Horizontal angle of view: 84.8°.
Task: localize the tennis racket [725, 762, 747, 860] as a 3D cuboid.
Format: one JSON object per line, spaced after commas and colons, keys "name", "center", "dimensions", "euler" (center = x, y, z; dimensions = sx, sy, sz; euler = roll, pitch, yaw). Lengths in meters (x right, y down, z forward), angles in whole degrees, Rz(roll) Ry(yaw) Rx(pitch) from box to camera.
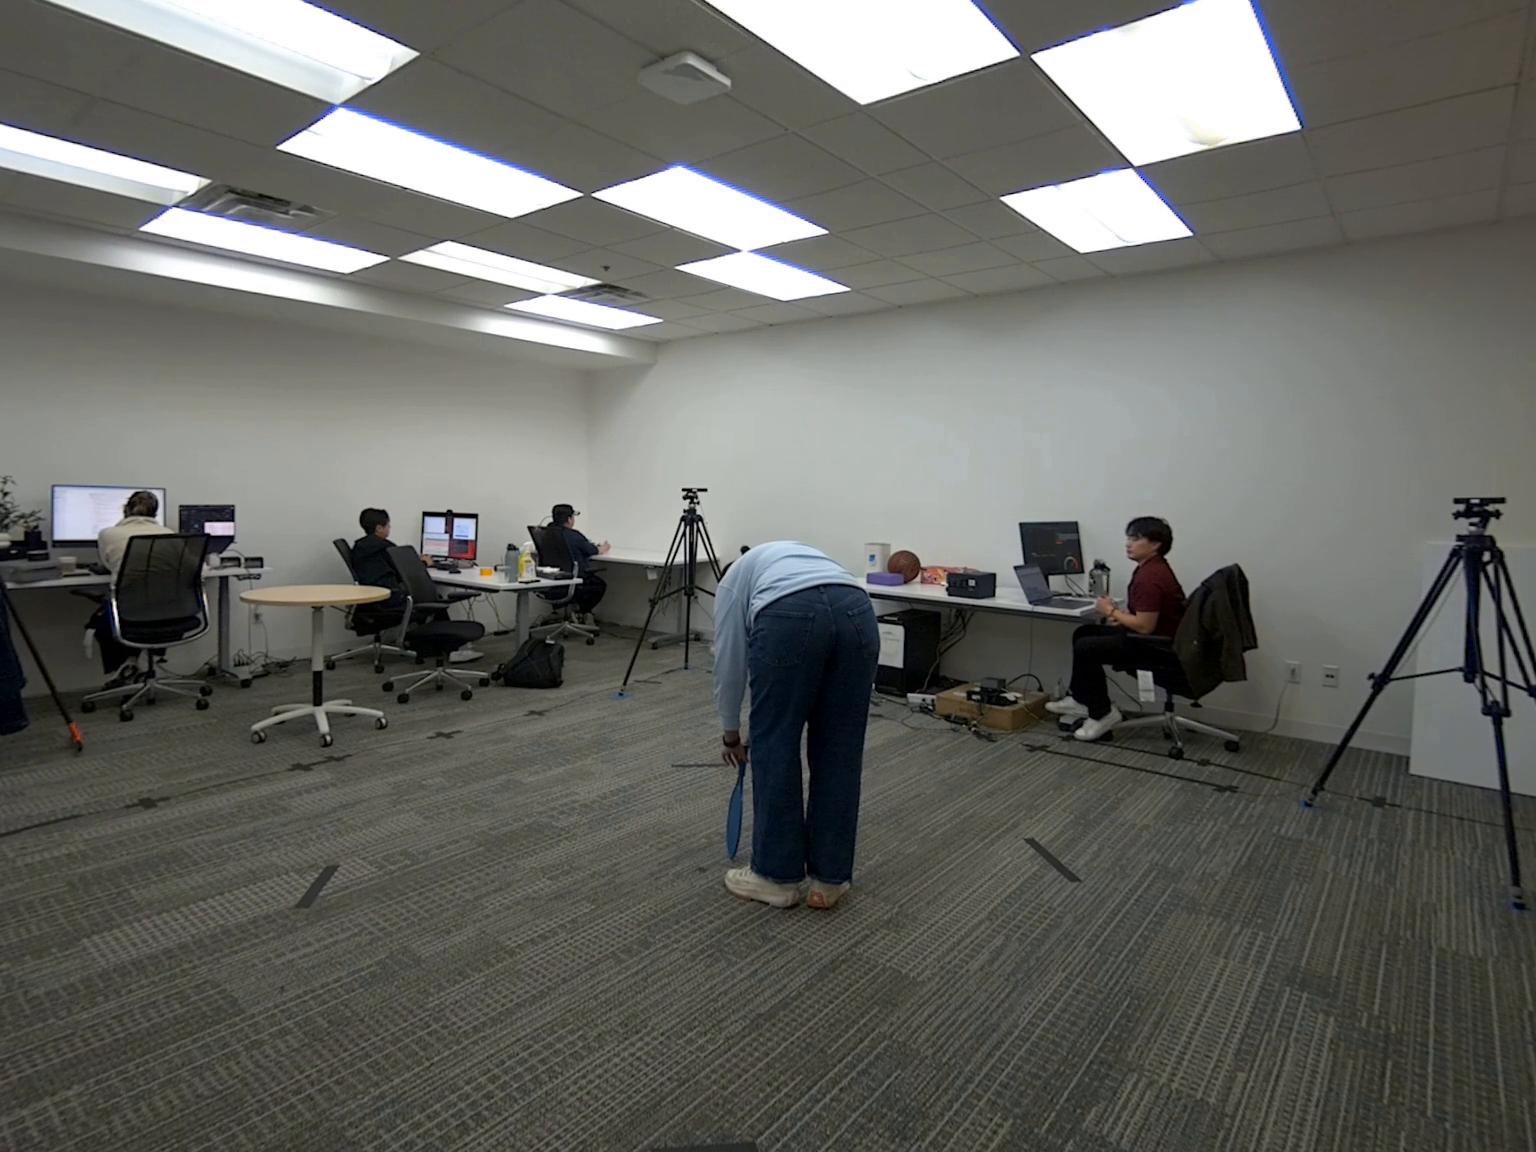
{"name": "tennis racket", "center": [-0.125, 0.850, 3.200], "dimensions": [0.031, 0.431, 0.217], "euler": [7, 4, -12]}
